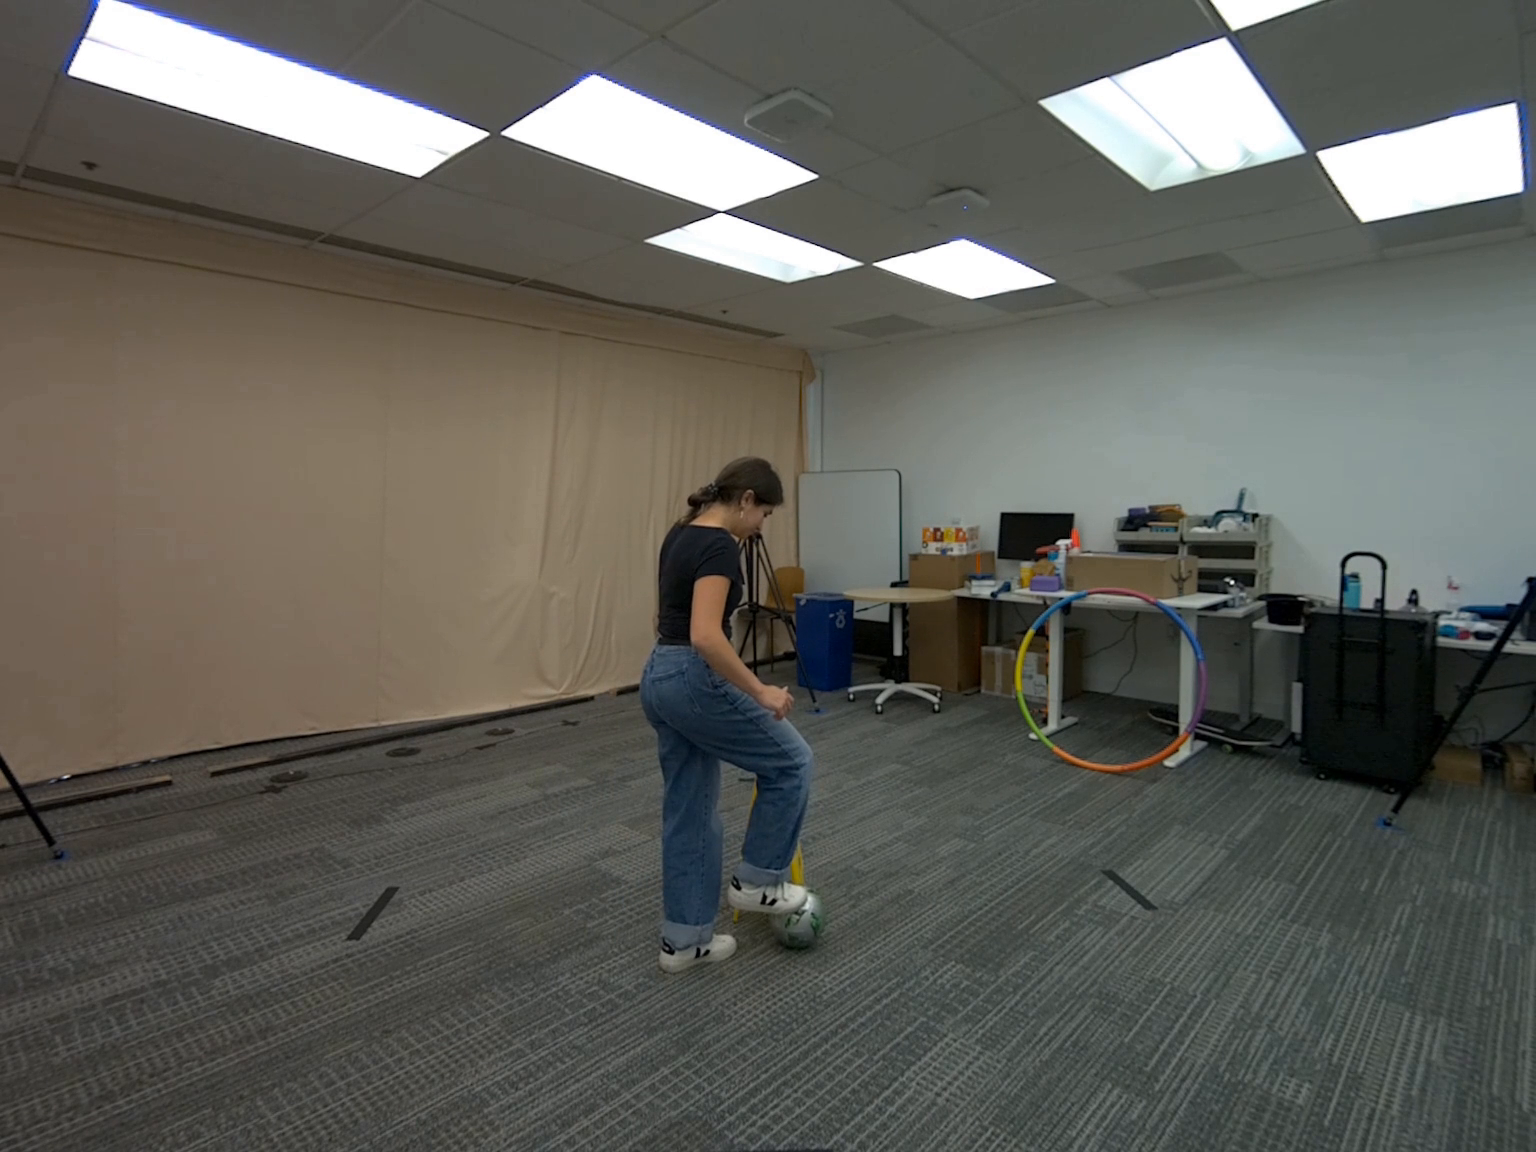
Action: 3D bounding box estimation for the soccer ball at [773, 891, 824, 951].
[{"bbox_3d":[0.102,1.083,2.665,0.187,0.187,0.188,0,4,-2],"label":"soccer ball"}]
